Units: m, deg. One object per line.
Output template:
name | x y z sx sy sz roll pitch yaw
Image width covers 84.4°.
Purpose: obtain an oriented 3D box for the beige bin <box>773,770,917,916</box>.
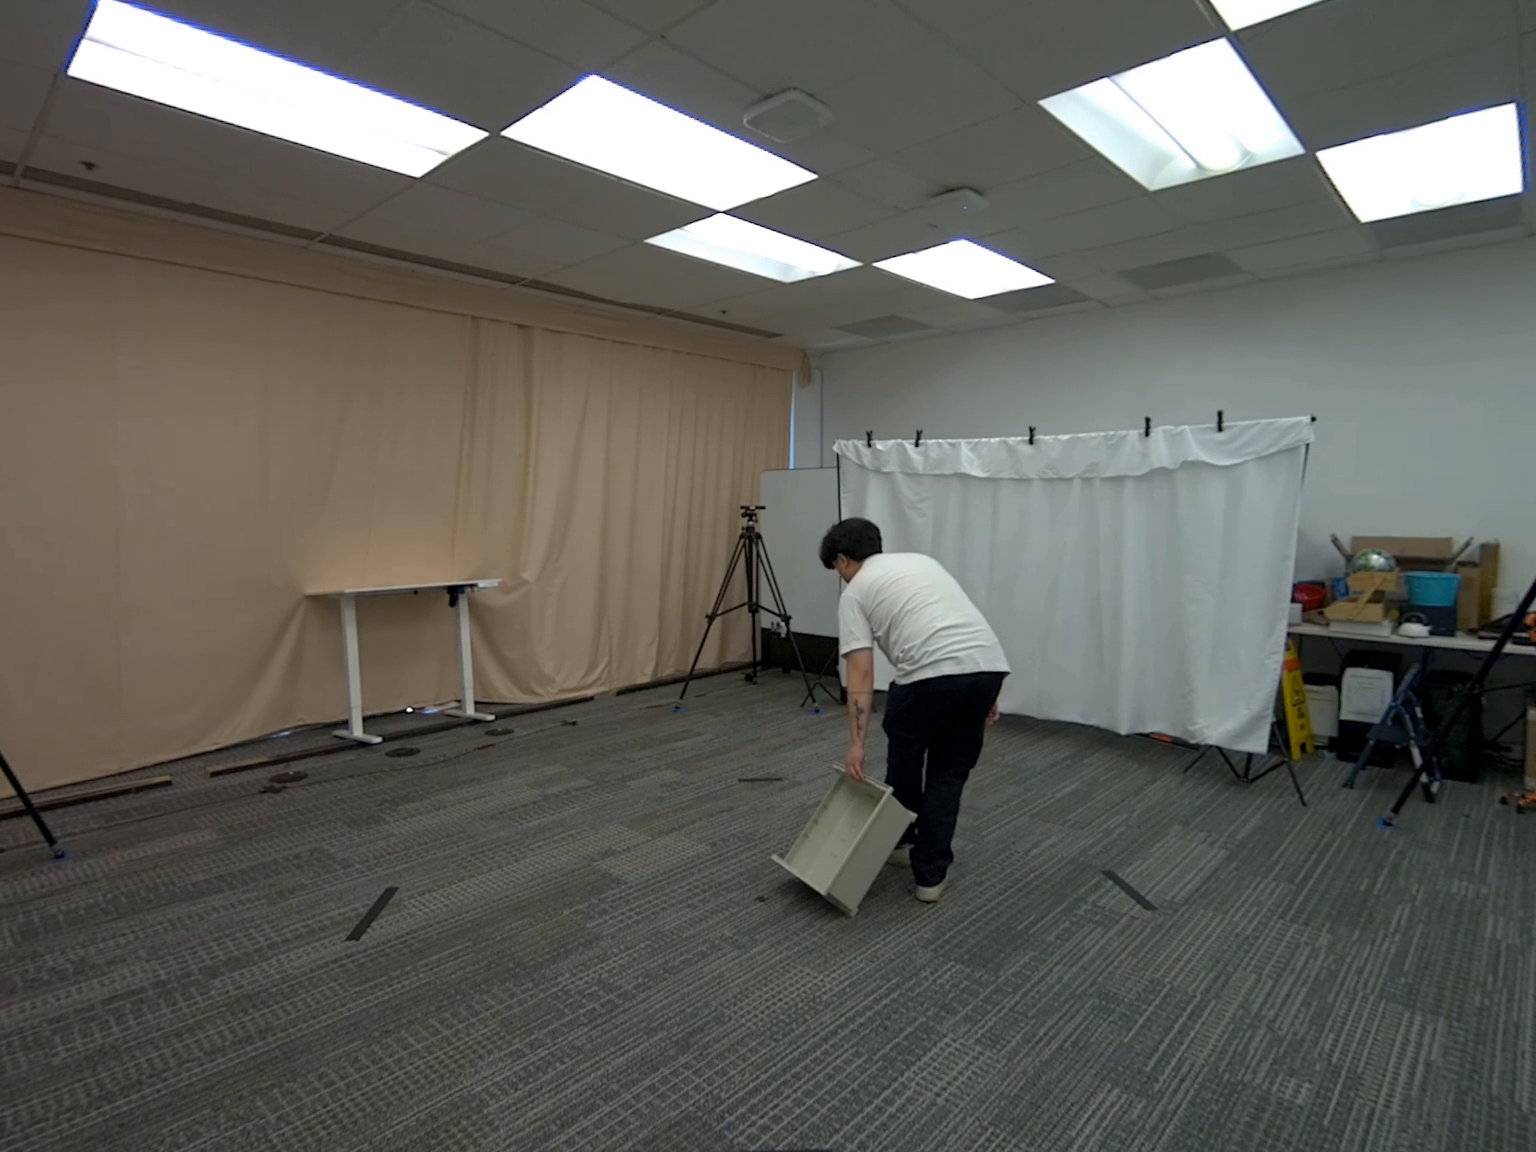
beige bin | 0.261 0.927 3.021 0.184 0.421 0.389 46 -18 -26
